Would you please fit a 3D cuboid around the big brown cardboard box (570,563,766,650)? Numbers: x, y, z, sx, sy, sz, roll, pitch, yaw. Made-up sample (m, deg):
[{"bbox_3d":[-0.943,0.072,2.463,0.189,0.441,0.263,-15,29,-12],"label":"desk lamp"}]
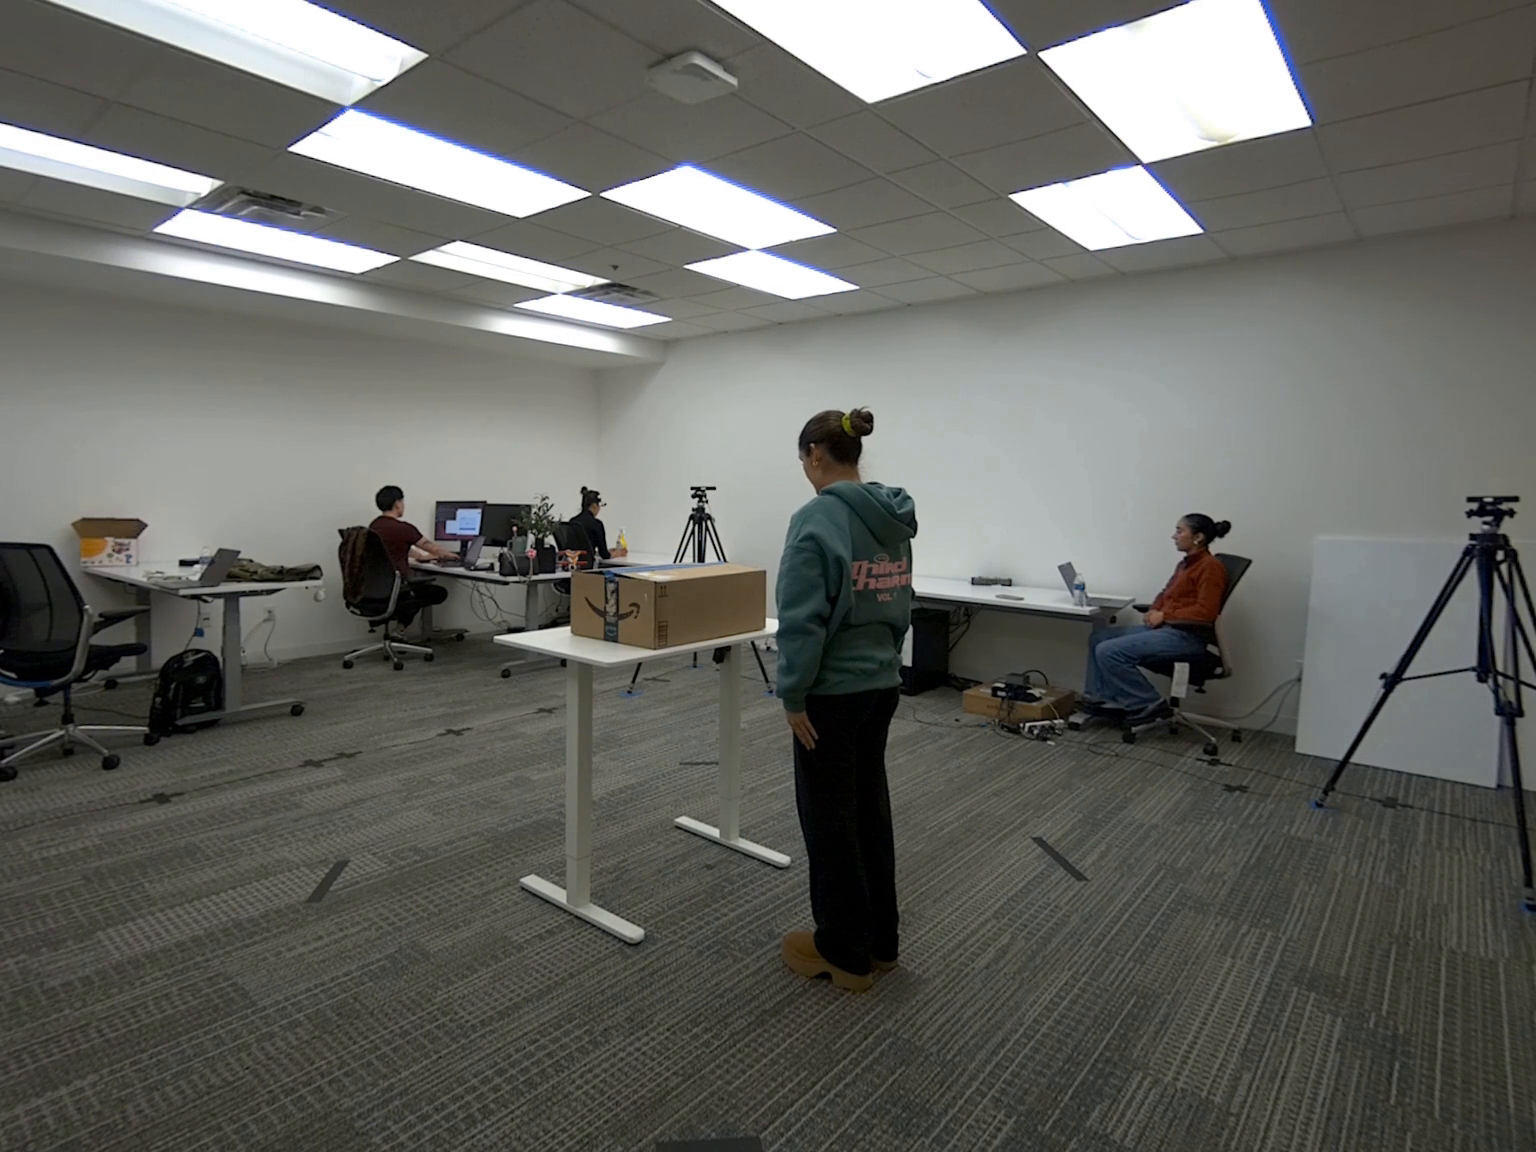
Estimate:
[{"bbox_3d":[-0.351,0.087,2.968,0.431,0.232,0.571,4,6,39],"label":"big brown cardboard box"}]
